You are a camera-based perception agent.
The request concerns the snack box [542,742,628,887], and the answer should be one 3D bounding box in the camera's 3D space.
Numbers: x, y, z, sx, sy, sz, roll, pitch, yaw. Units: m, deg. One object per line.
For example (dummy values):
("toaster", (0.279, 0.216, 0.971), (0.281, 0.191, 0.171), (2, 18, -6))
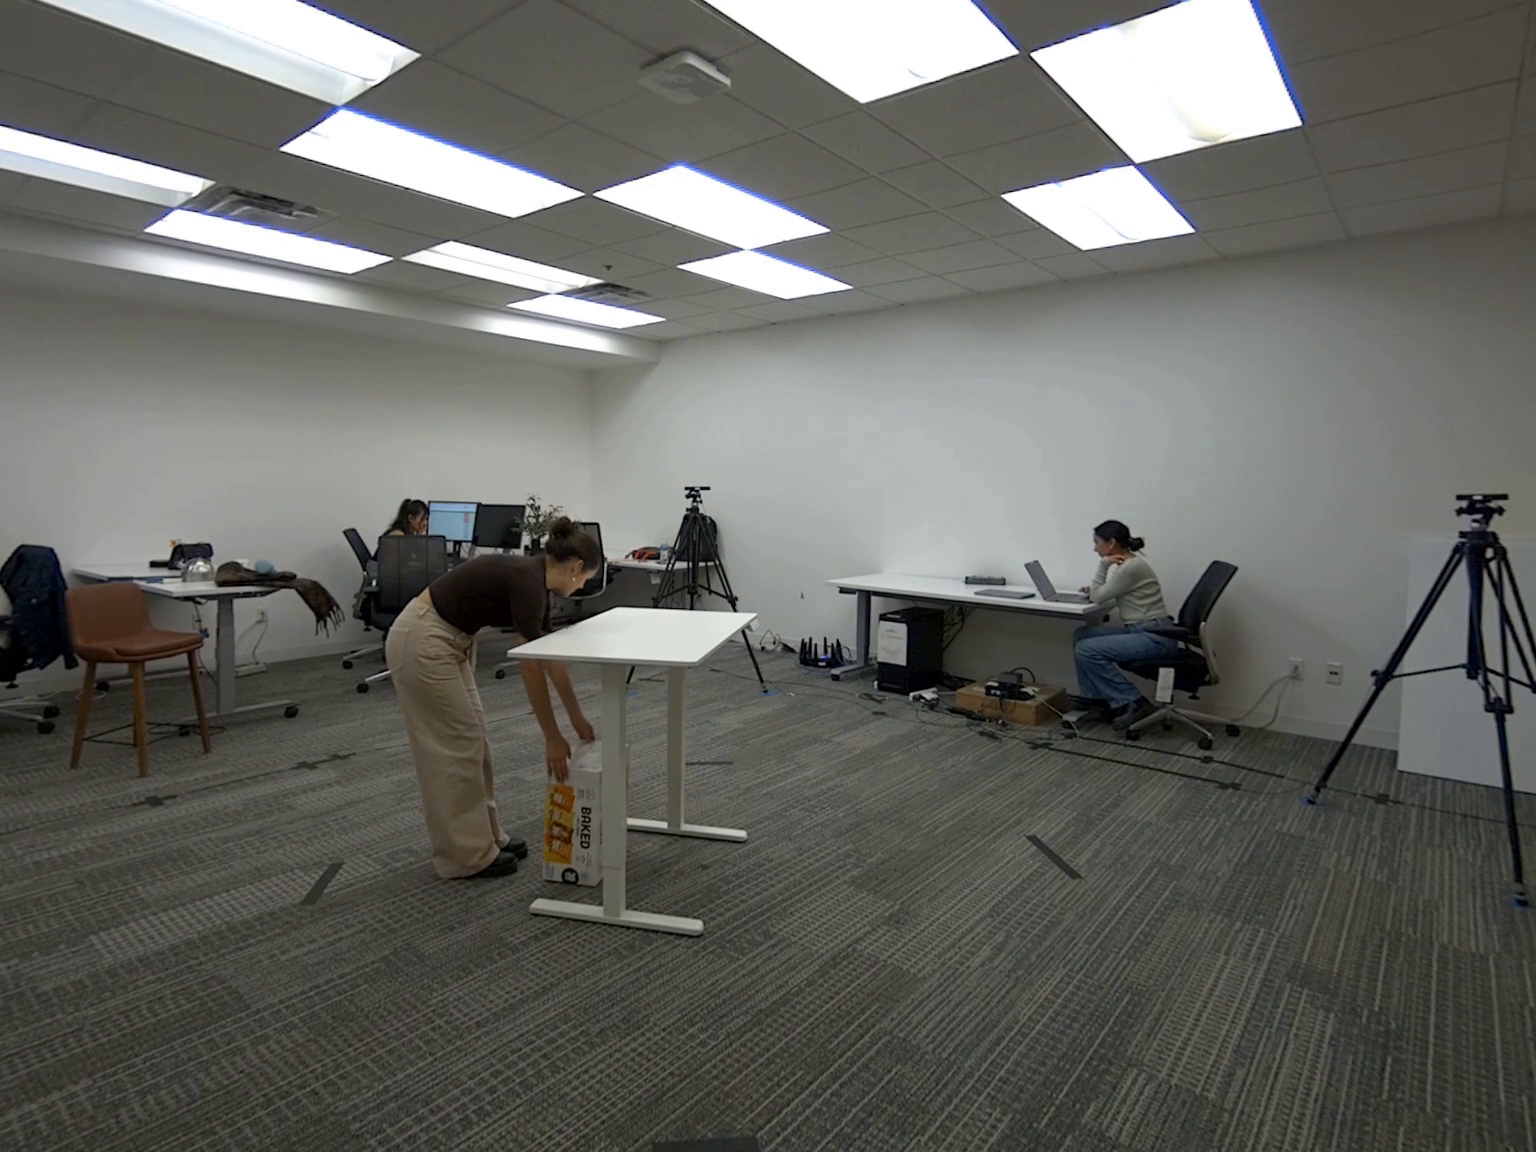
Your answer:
("snack box", (-0.677, 0.851, 3.105), (0.208, 0.404, 0.337), (3, 4, 9))
